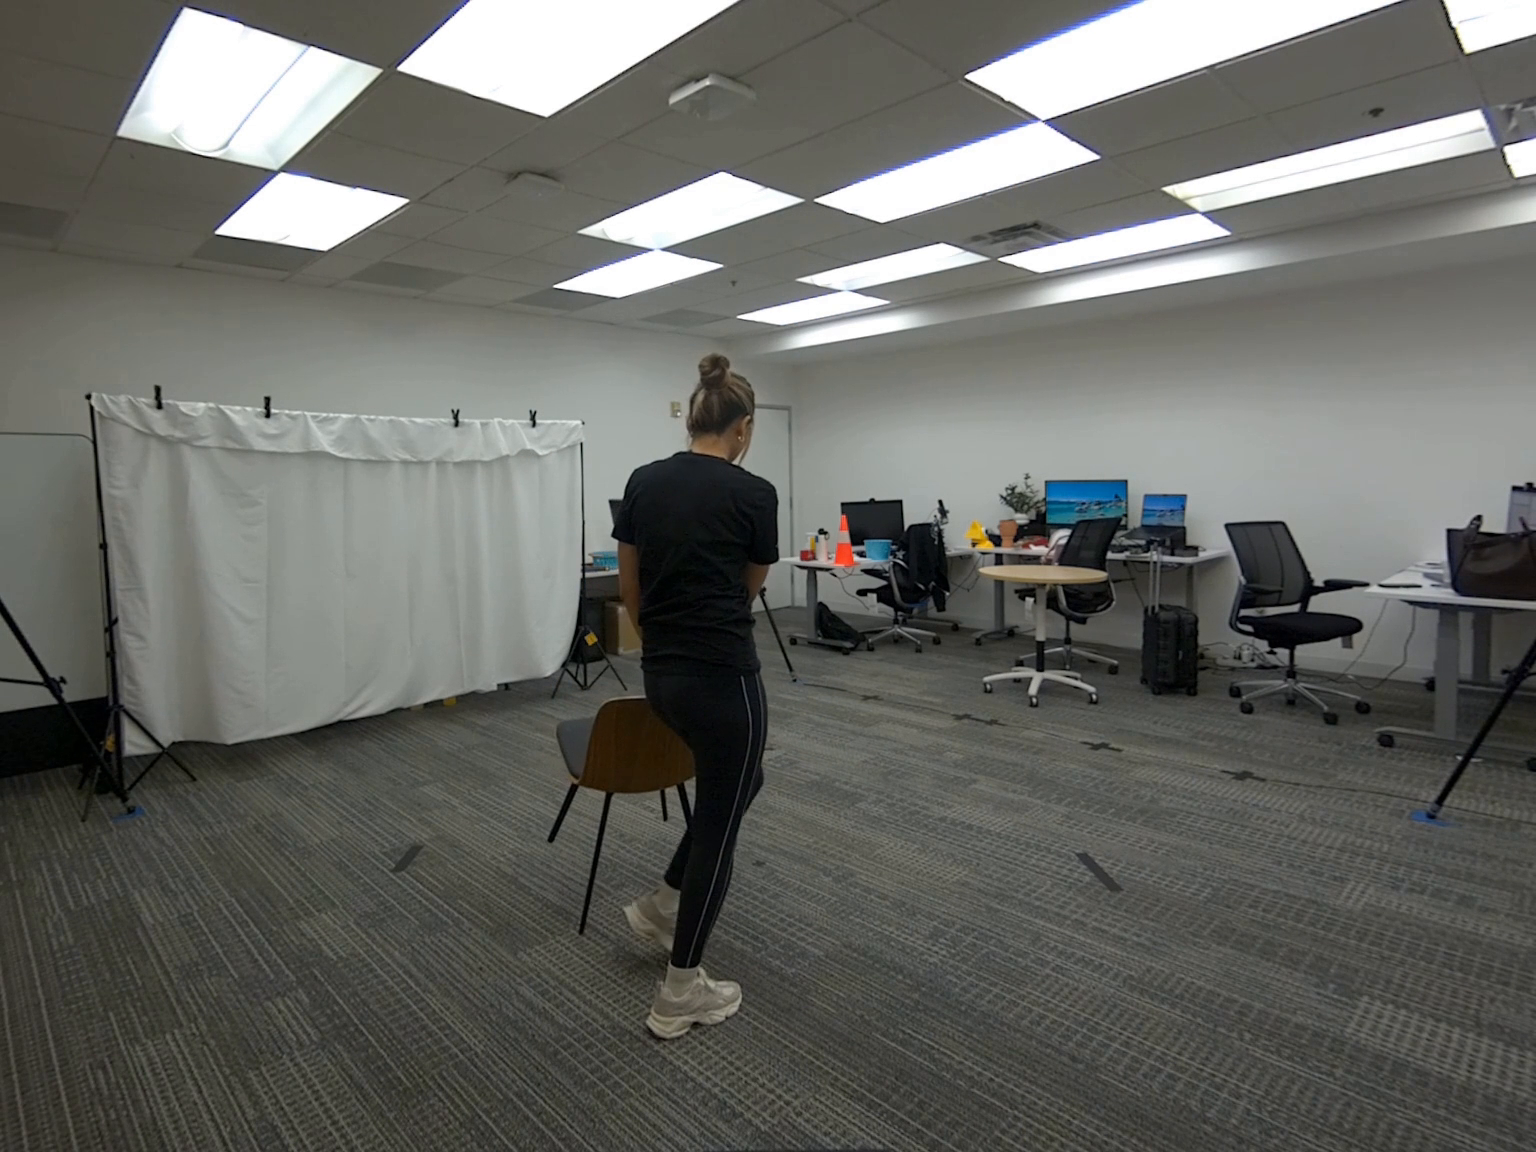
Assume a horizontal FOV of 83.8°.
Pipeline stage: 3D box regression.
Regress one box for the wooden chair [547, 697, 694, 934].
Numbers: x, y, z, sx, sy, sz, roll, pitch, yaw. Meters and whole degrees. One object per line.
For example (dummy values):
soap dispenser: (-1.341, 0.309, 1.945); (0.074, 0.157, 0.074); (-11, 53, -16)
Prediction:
wooden chair: (-0.434, 0.617, 2.793); (0.468, 0.863, 0.543); (-3, 25, -25)
